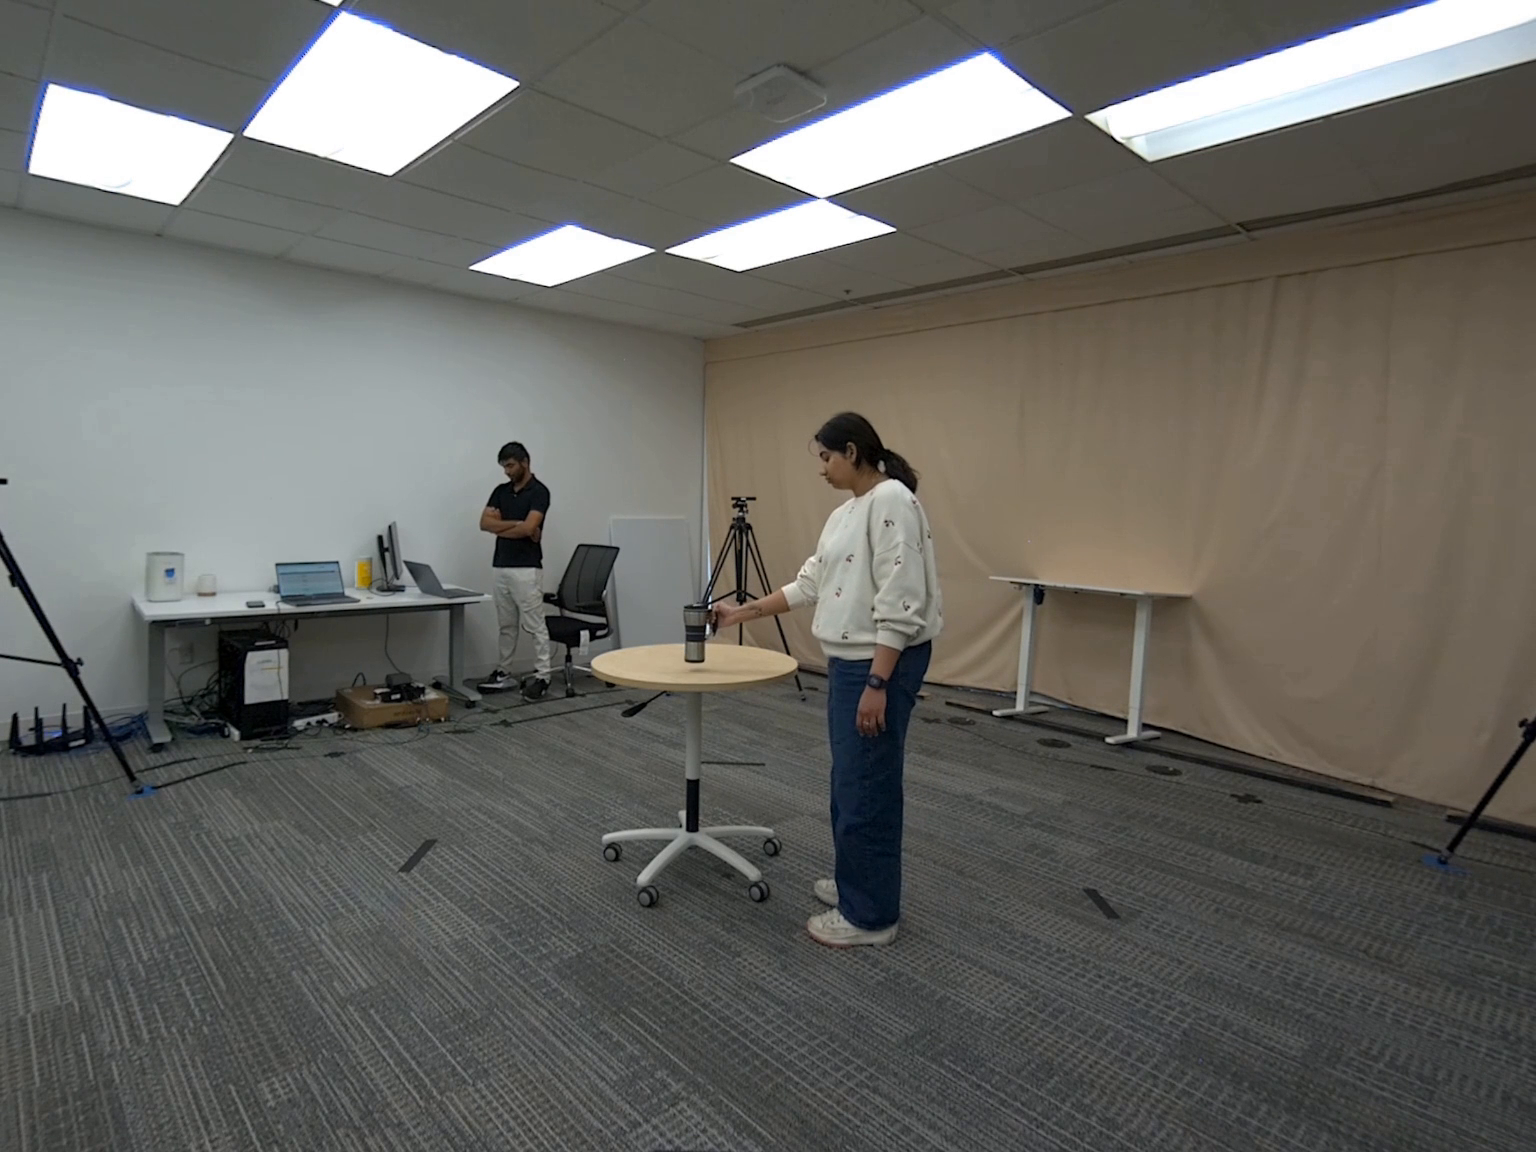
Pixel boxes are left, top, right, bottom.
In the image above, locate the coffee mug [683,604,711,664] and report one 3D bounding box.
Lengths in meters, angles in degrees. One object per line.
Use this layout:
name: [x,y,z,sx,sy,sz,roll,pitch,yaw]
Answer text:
coffee mug: [-0.235,0.201,2.957,0.122,0.203,0.088,-1,-2,0]
